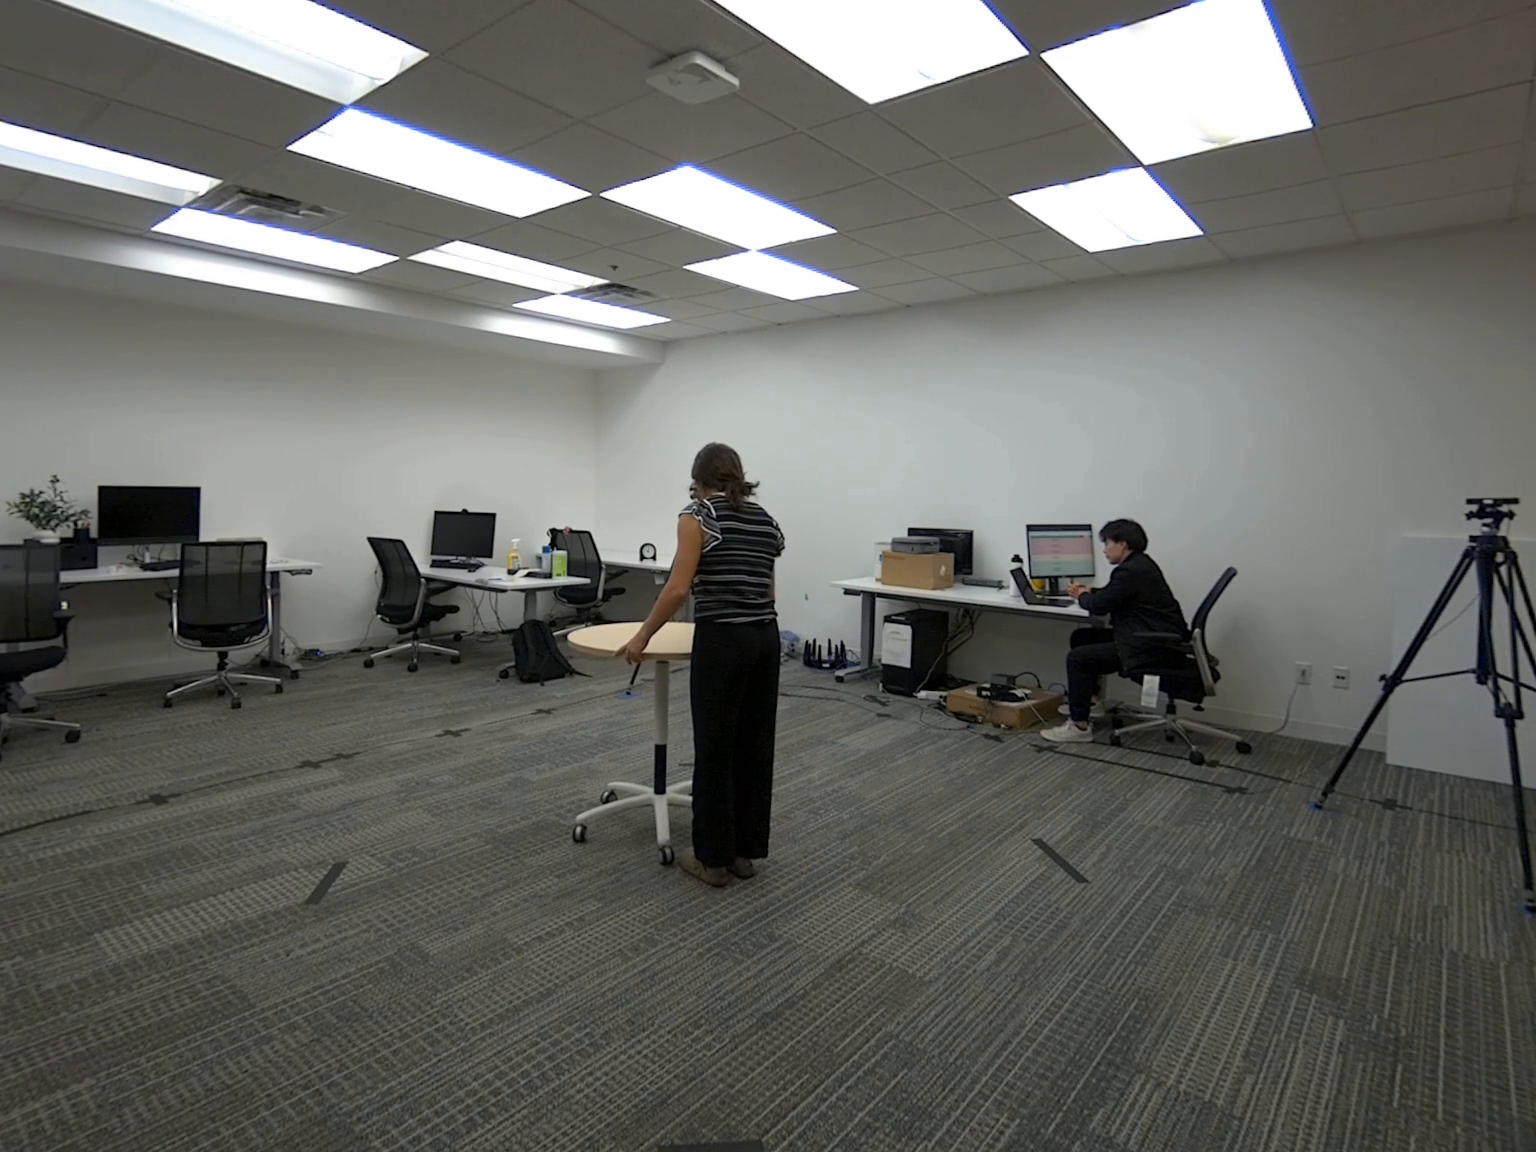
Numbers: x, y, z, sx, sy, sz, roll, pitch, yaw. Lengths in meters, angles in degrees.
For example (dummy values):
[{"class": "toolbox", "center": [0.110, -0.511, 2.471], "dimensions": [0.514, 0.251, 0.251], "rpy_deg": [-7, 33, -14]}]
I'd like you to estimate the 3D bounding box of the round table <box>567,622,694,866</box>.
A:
[{"class": "round table", "center": [-0.440, 0.632, 3.461], "dimensions": [0.784, 0.784, 0.789], "rpy_deg": [1, 4, -2]}]
